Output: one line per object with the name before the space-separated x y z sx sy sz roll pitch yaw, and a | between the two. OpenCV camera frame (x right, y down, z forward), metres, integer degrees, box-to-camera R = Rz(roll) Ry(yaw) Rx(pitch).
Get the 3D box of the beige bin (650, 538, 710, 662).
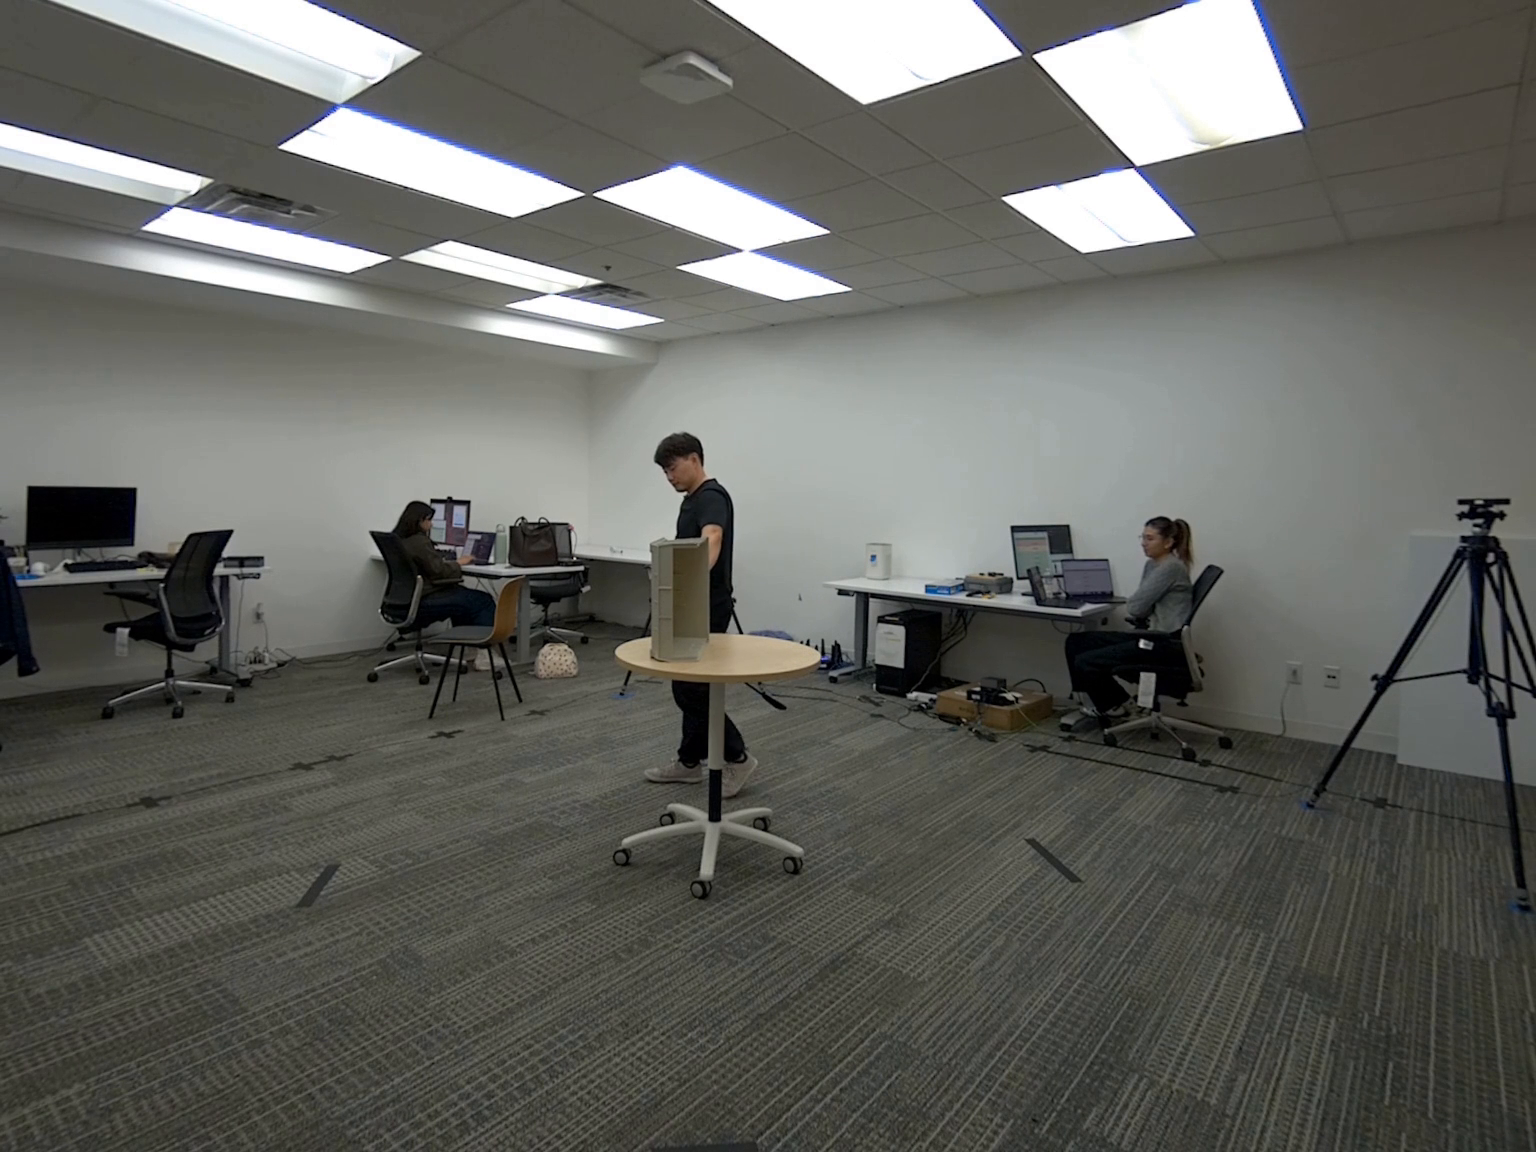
beige bin | -0.336 0.067 3.157 0.190 0.420 0.378 -1 6 2
